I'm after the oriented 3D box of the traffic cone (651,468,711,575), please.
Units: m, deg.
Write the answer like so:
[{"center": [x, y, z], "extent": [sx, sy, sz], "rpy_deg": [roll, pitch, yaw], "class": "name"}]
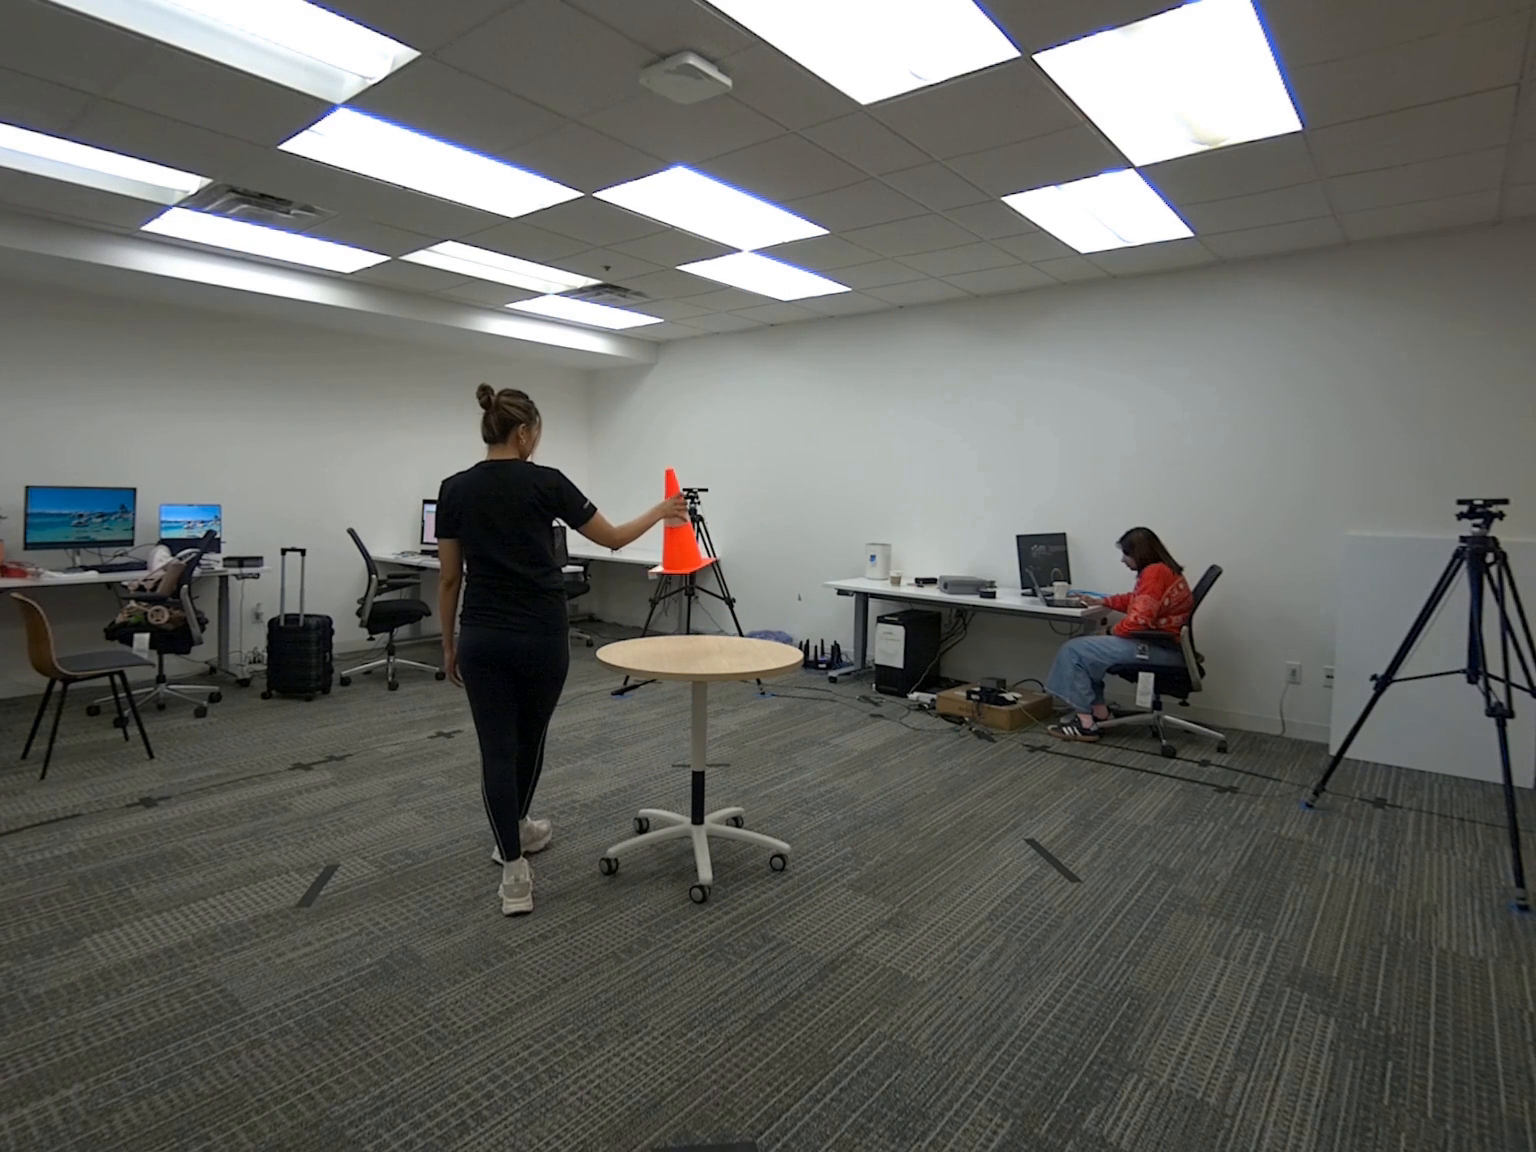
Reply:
[{"center": [-0.368, -0.222, 3.235], "extent": [0.209, 0.378, 0.202], "rpy_deg": [0, 15, 28], "class": "traffic cone"}]
